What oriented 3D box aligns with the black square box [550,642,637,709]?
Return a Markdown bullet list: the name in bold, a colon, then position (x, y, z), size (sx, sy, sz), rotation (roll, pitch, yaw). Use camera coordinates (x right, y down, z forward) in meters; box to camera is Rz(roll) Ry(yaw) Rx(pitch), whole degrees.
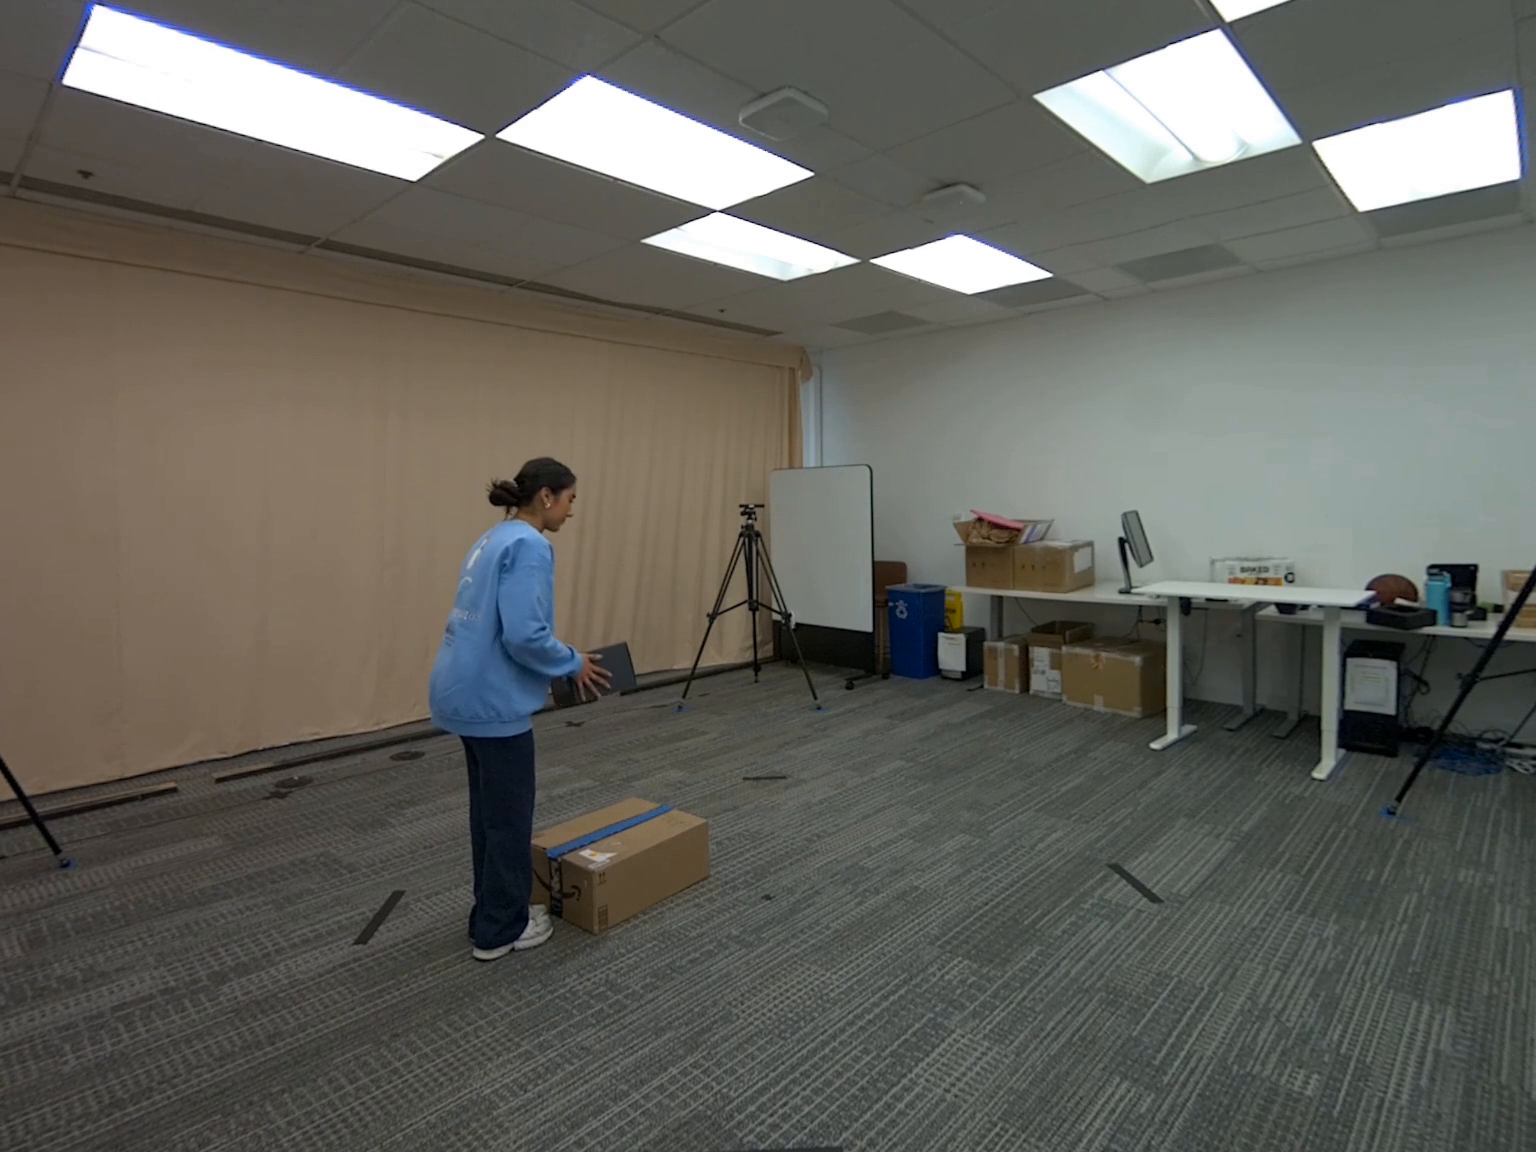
- **black square box**: position (-0.612, 0.336, 2.878), size (0.222, 0.156, 0.221), rotation (-14, -3, -32)
